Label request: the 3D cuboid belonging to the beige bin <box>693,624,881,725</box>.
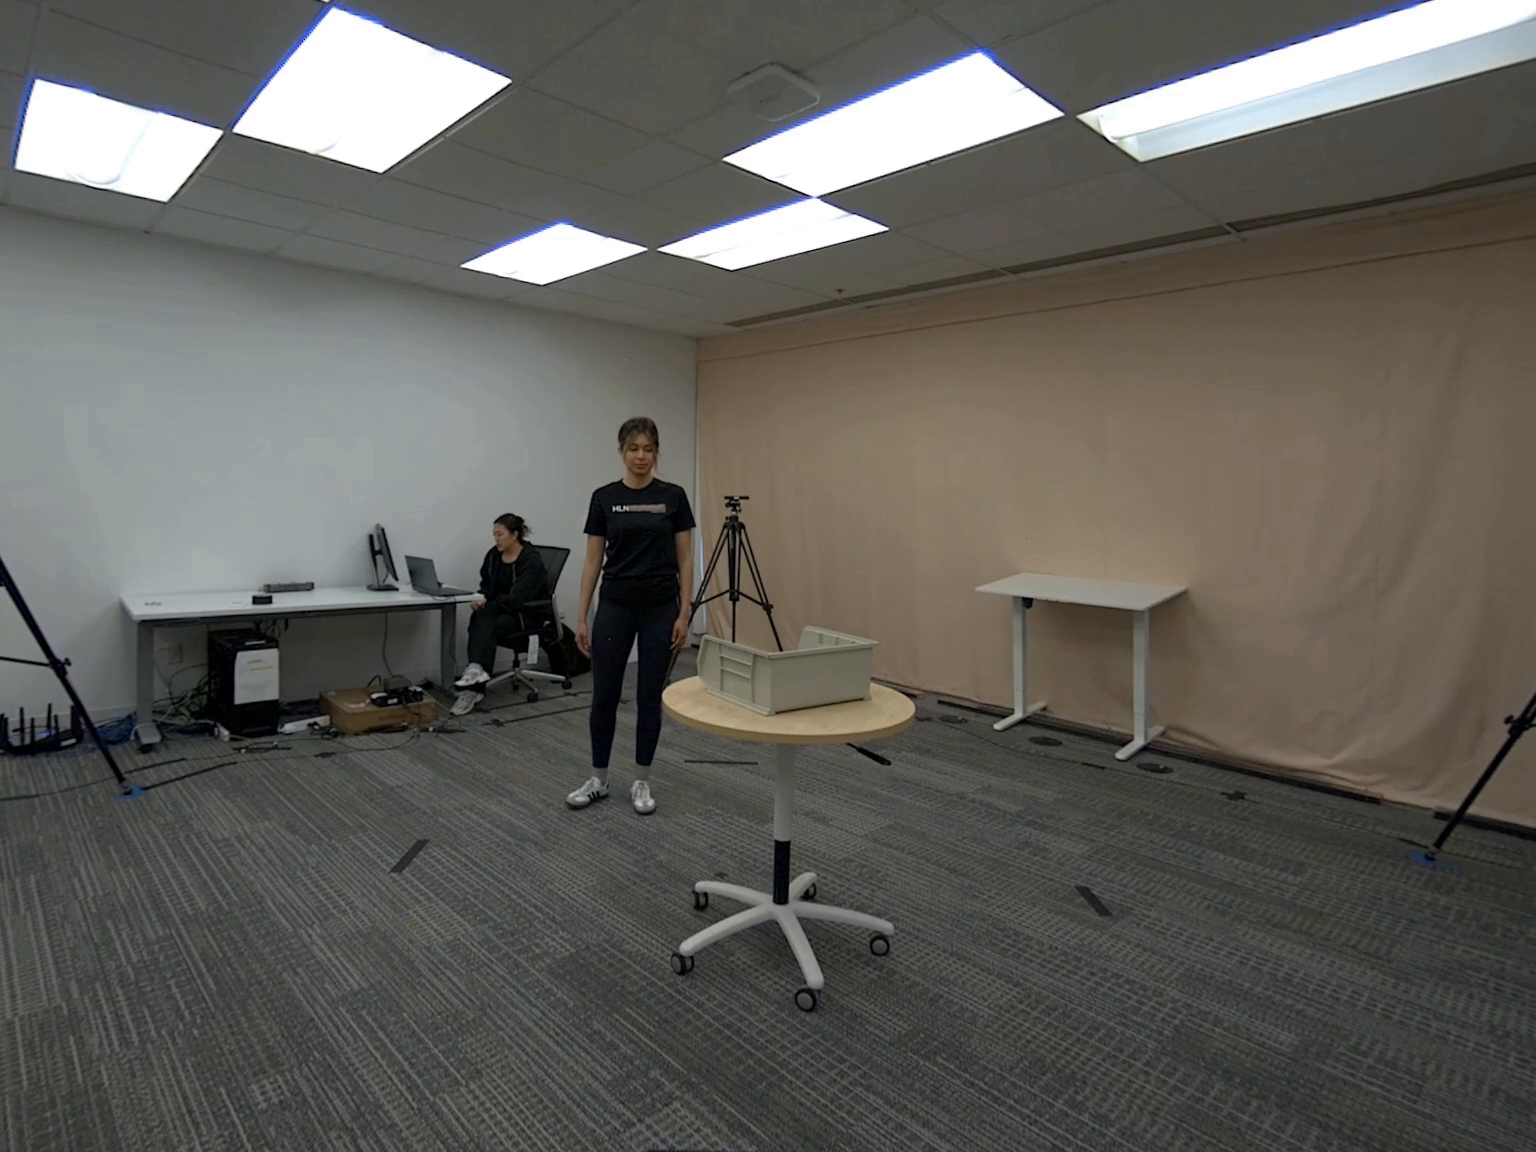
[{"bbox_3d":[0.053,0.285,2.599,0.413,0.188,0.387,-2,7,-37],"label":"beige bin"}]
